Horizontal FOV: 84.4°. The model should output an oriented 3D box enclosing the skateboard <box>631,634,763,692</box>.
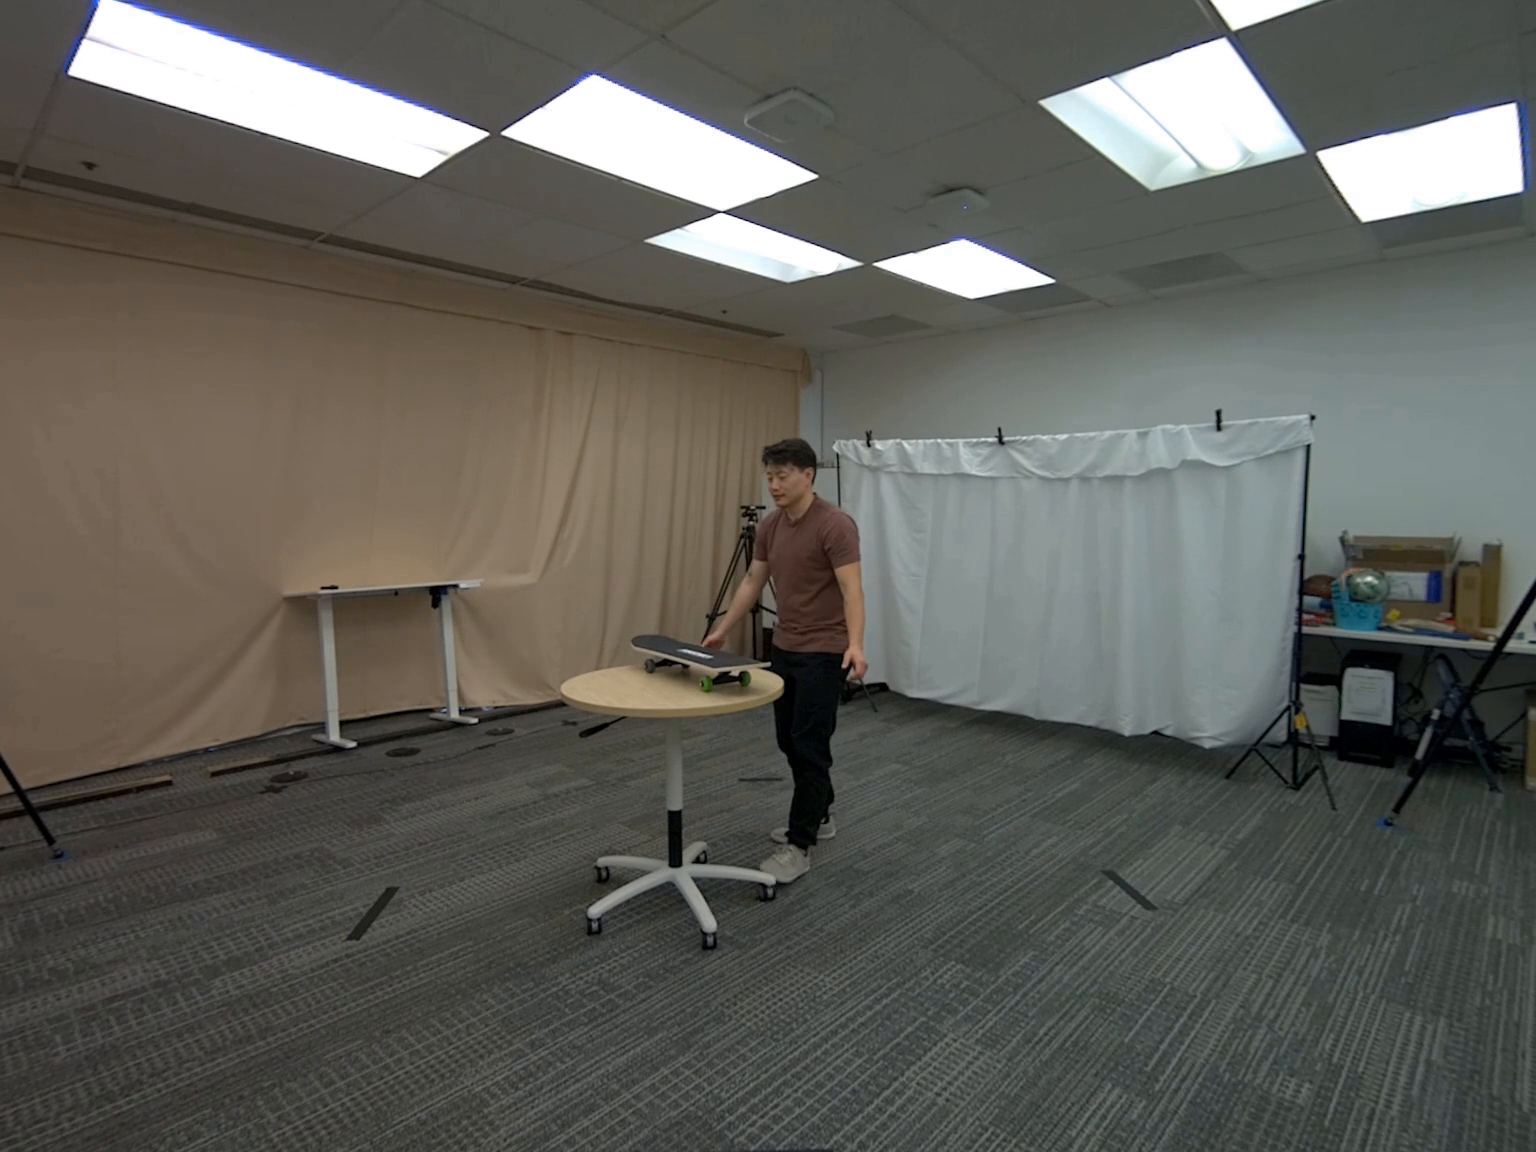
[{"bbox_3d":[-0.256,0.311,2.968,0.188,0.110,0.809,-4,6,-33],"label":"skateboard"}]
